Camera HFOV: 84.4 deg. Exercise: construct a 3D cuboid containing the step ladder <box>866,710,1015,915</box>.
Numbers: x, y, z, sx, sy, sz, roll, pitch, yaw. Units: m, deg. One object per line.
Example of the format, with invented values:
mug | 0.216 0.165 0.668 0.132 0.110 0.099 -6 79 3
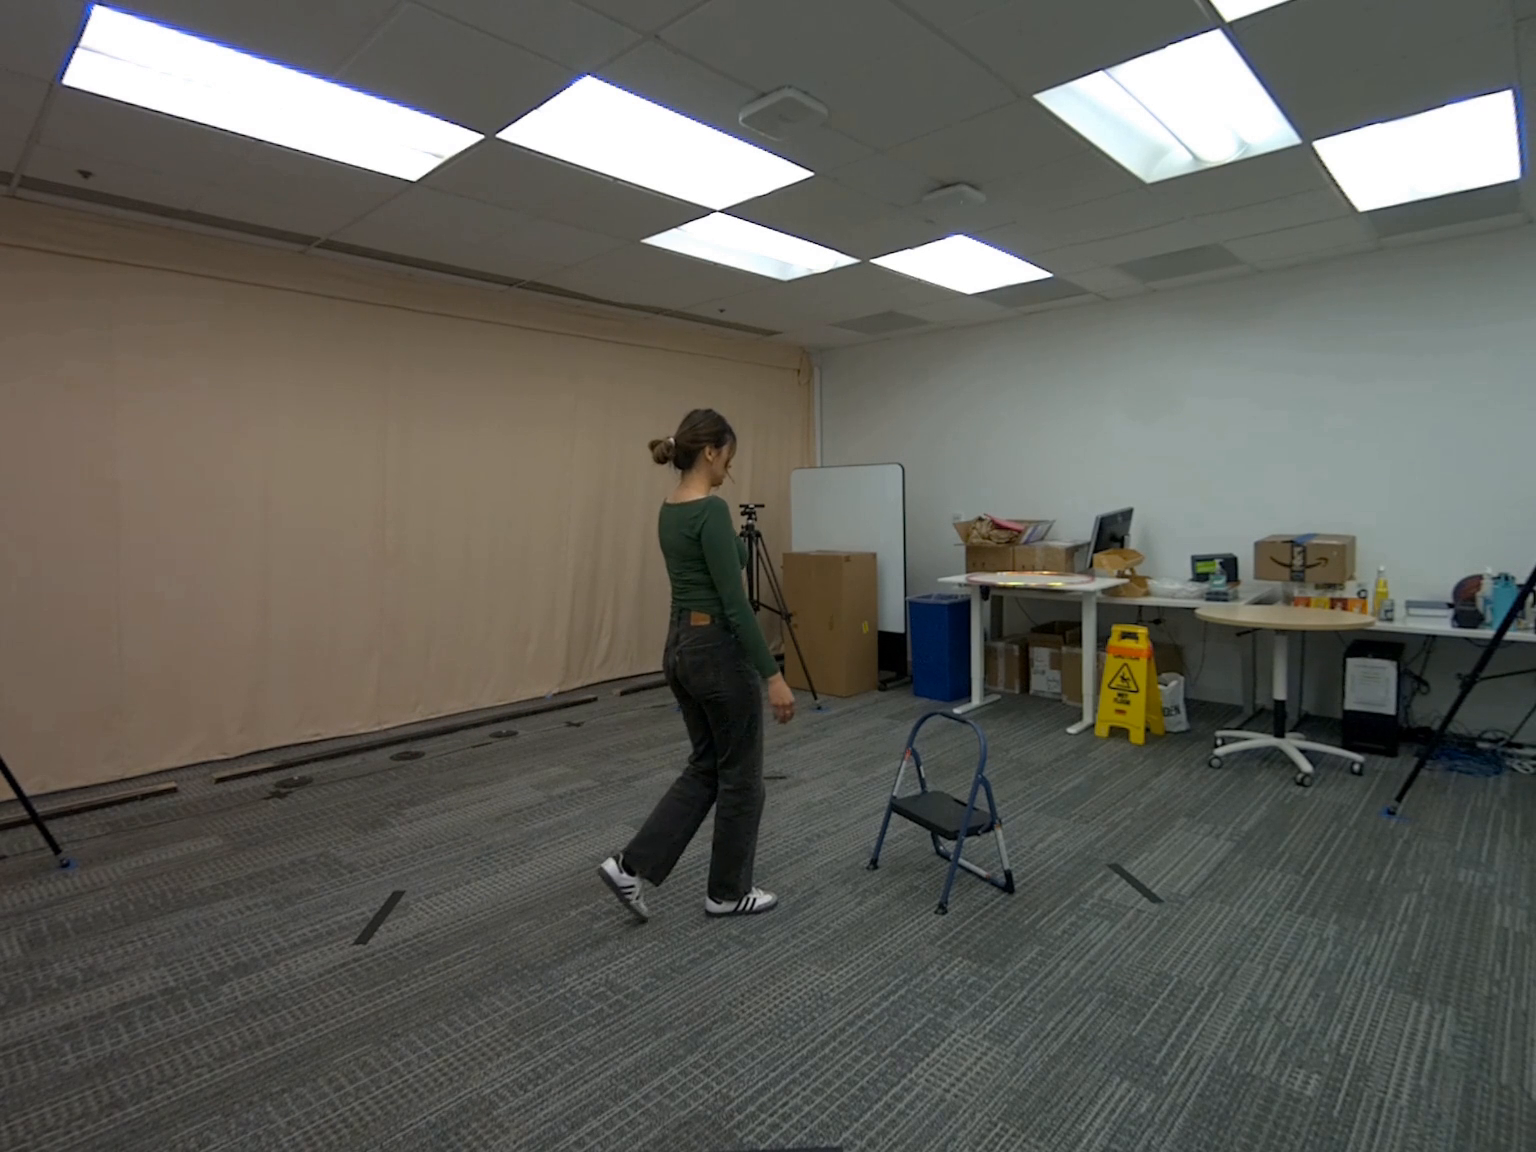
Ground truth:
step ladder | 0.628 0.816 3.081 0.340 0.605 0.442 -2 4 -28
